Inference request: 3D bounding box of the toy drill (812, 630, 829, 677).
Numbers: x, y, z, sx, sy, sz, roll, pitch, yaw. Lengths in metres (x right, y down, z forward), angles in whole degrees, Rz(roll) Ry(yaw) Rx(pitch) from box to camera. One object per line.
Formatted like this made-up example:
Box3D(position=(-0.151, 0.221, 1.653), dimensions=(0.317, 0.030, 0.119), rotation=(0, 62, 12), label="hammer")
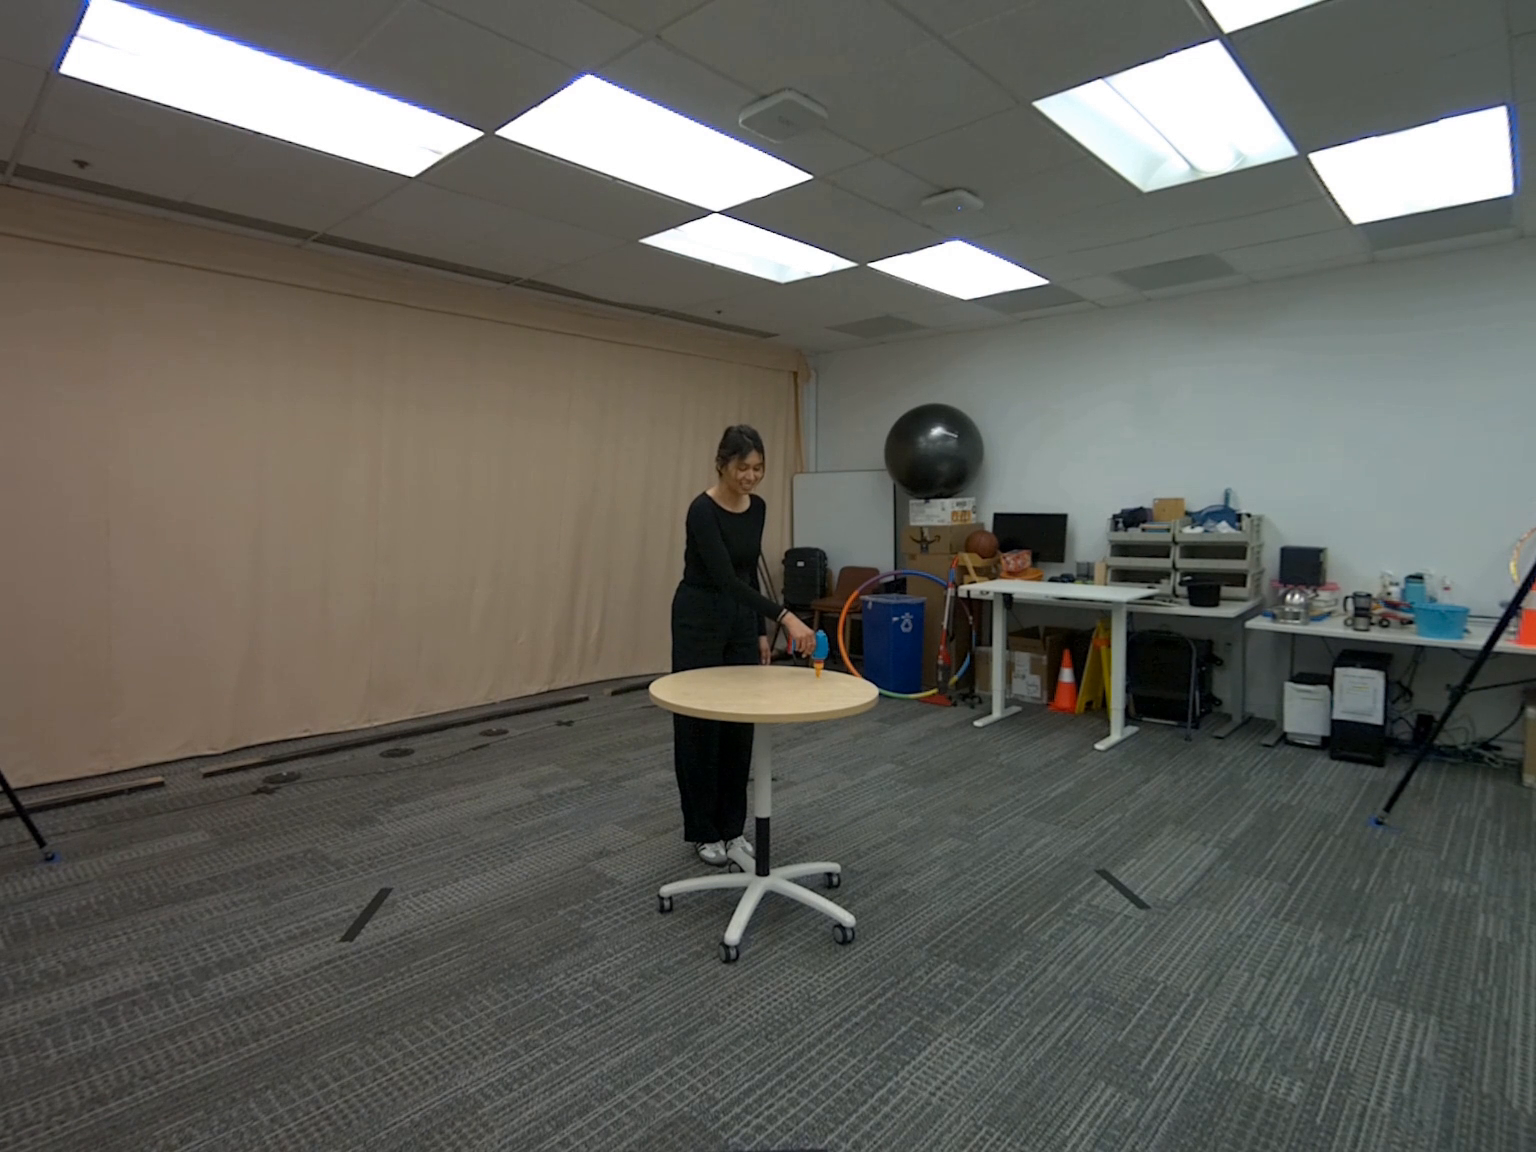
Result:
Box3D(position=(0.143, 0.275, 2.978), dimensions=(0.145, 0.168, 0.062), rotation=(4, 13, -3), label="toy drill")
